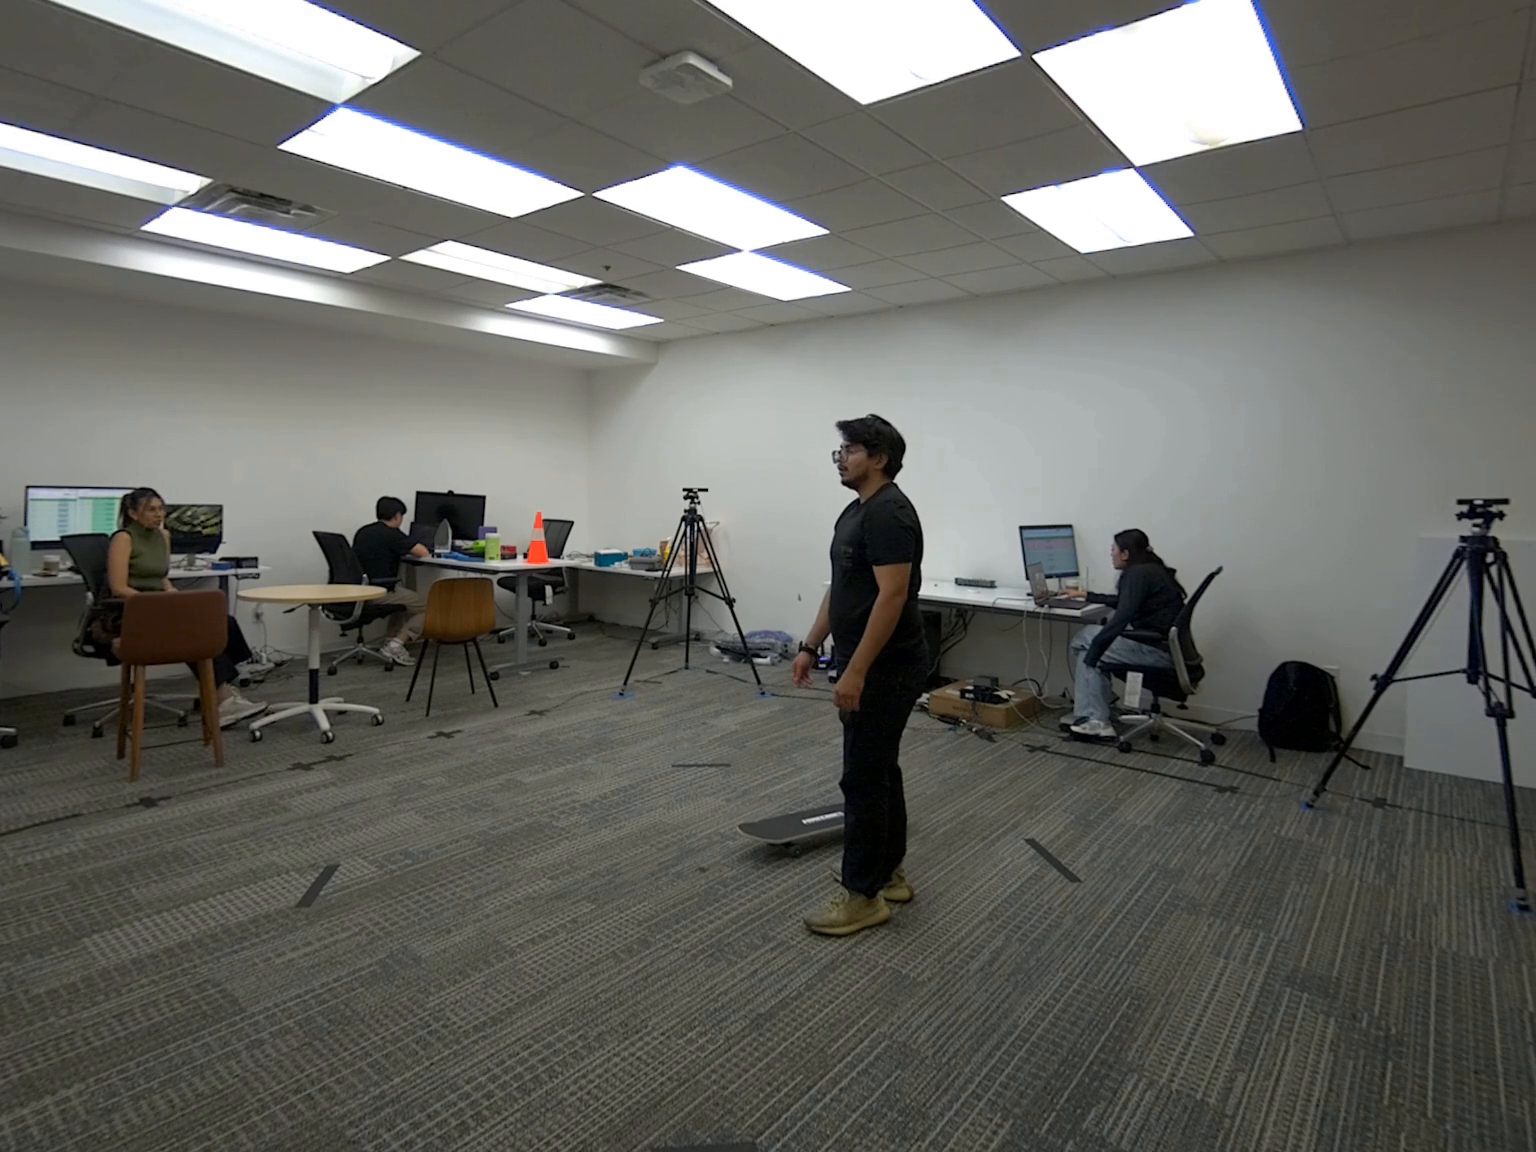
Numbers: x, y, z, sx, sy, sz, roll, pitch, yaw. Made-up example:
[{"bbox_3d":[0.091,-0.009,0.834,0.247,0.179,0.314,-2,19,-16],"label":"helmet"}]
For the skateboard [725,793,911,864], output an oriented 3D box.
[{"bbox_3d":[0.213,0.989,3.395,0.764,0.110,0.199,-2,5,-32],"label":"skateboard"}]
